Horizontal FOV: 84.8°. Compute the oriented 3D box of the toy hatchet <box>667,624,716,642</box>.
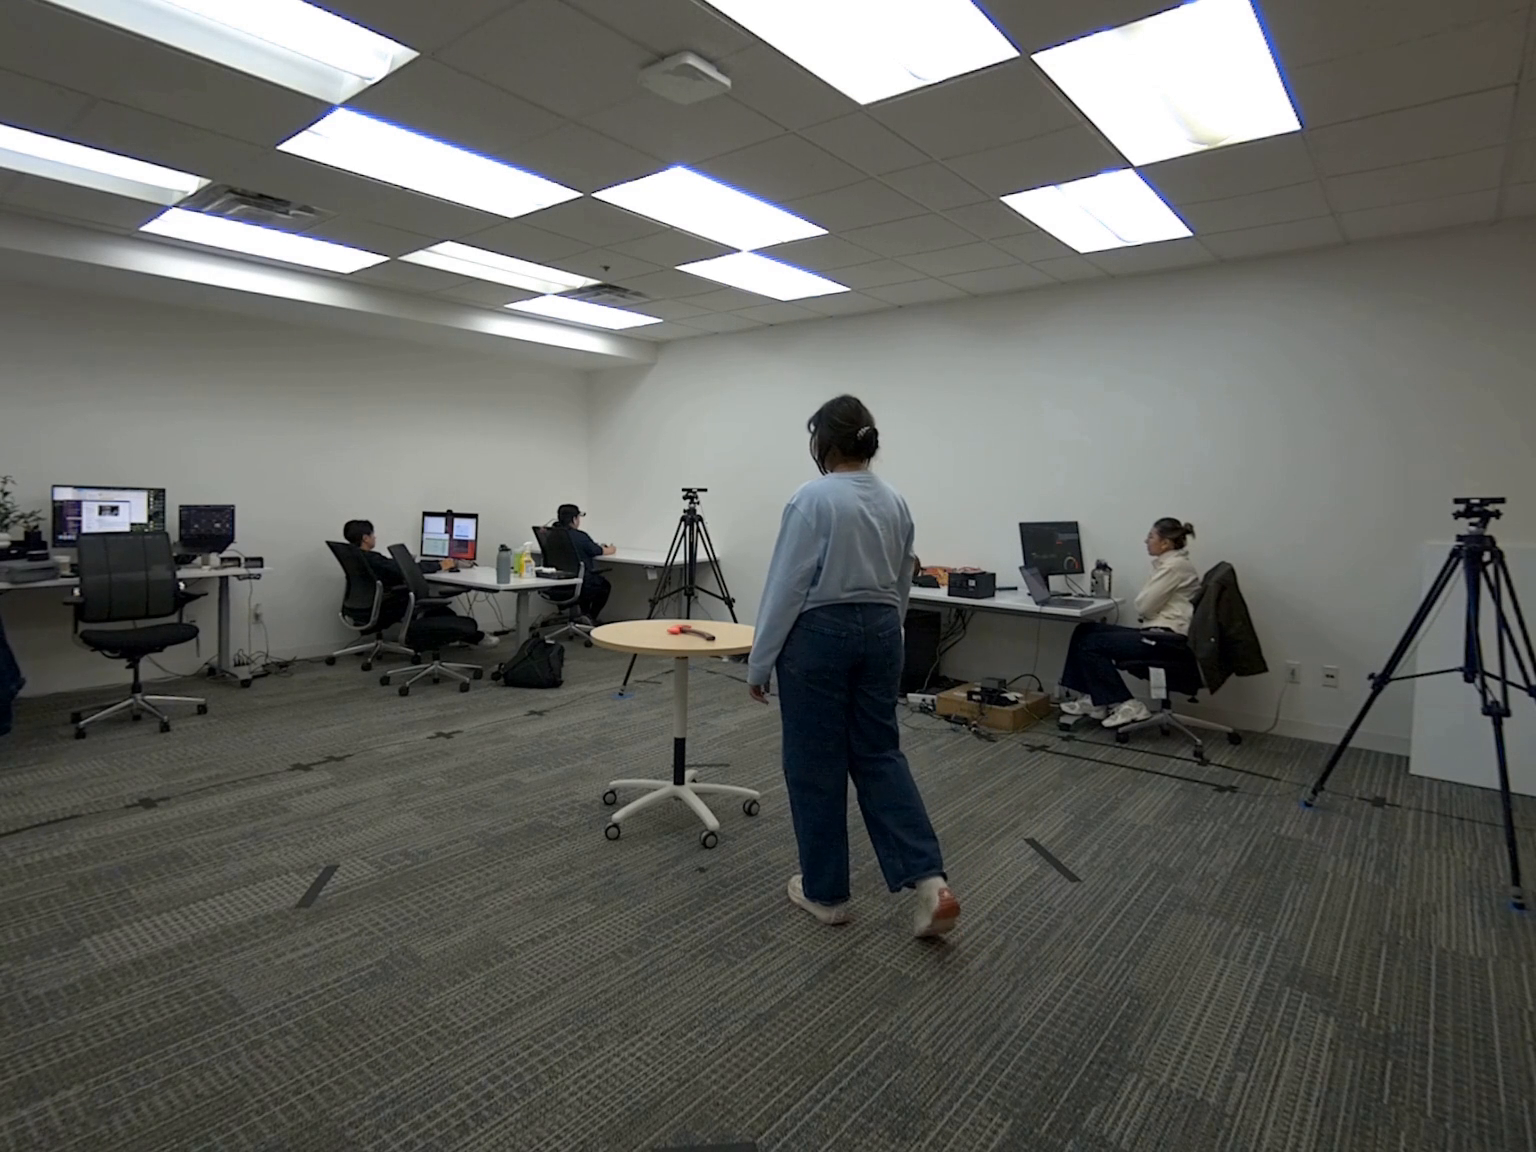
[{"bbox_3d":[-0.339,0.232,3.509,0.128,0.029,0.278,-1,7,-26],"label":"toy hatchet"}]
